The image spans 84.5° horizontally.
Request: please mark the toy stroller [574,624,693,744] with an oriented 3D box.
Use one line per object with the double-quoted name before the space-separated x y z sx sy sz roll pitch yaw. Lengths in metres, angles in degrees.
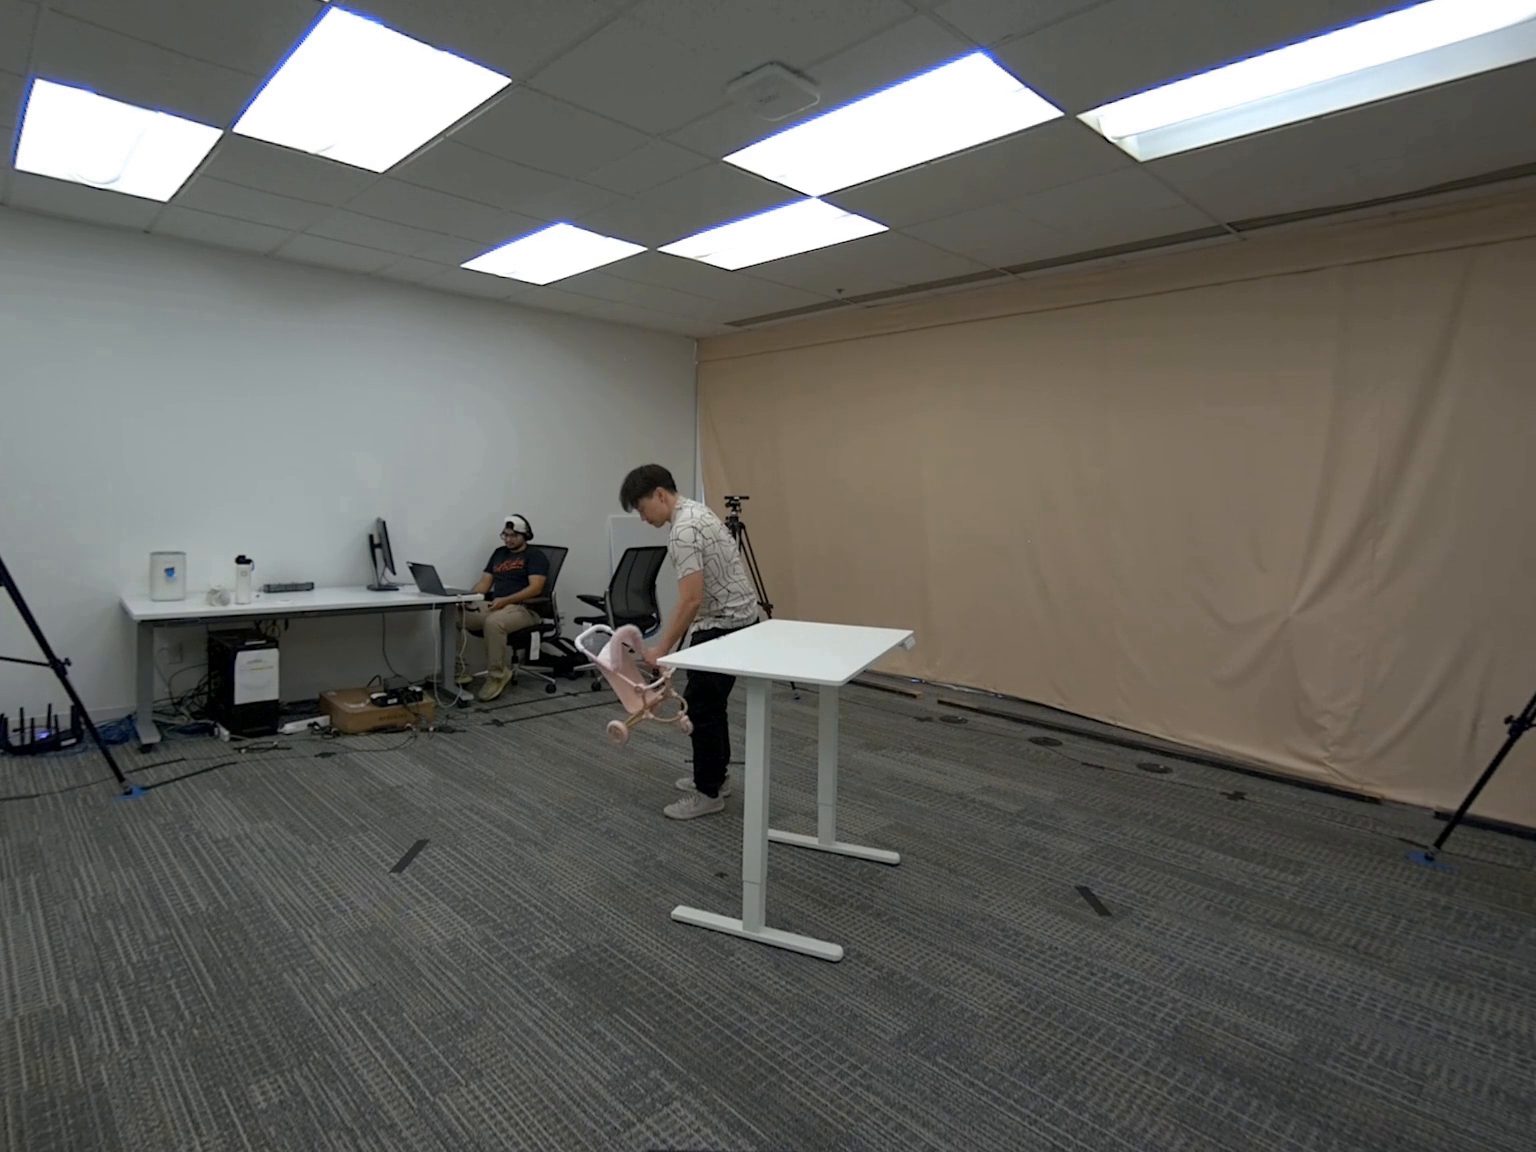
"toy stroller" -0.539 0.441 3.466 0.346 0.531 0.279 -17 9 35
